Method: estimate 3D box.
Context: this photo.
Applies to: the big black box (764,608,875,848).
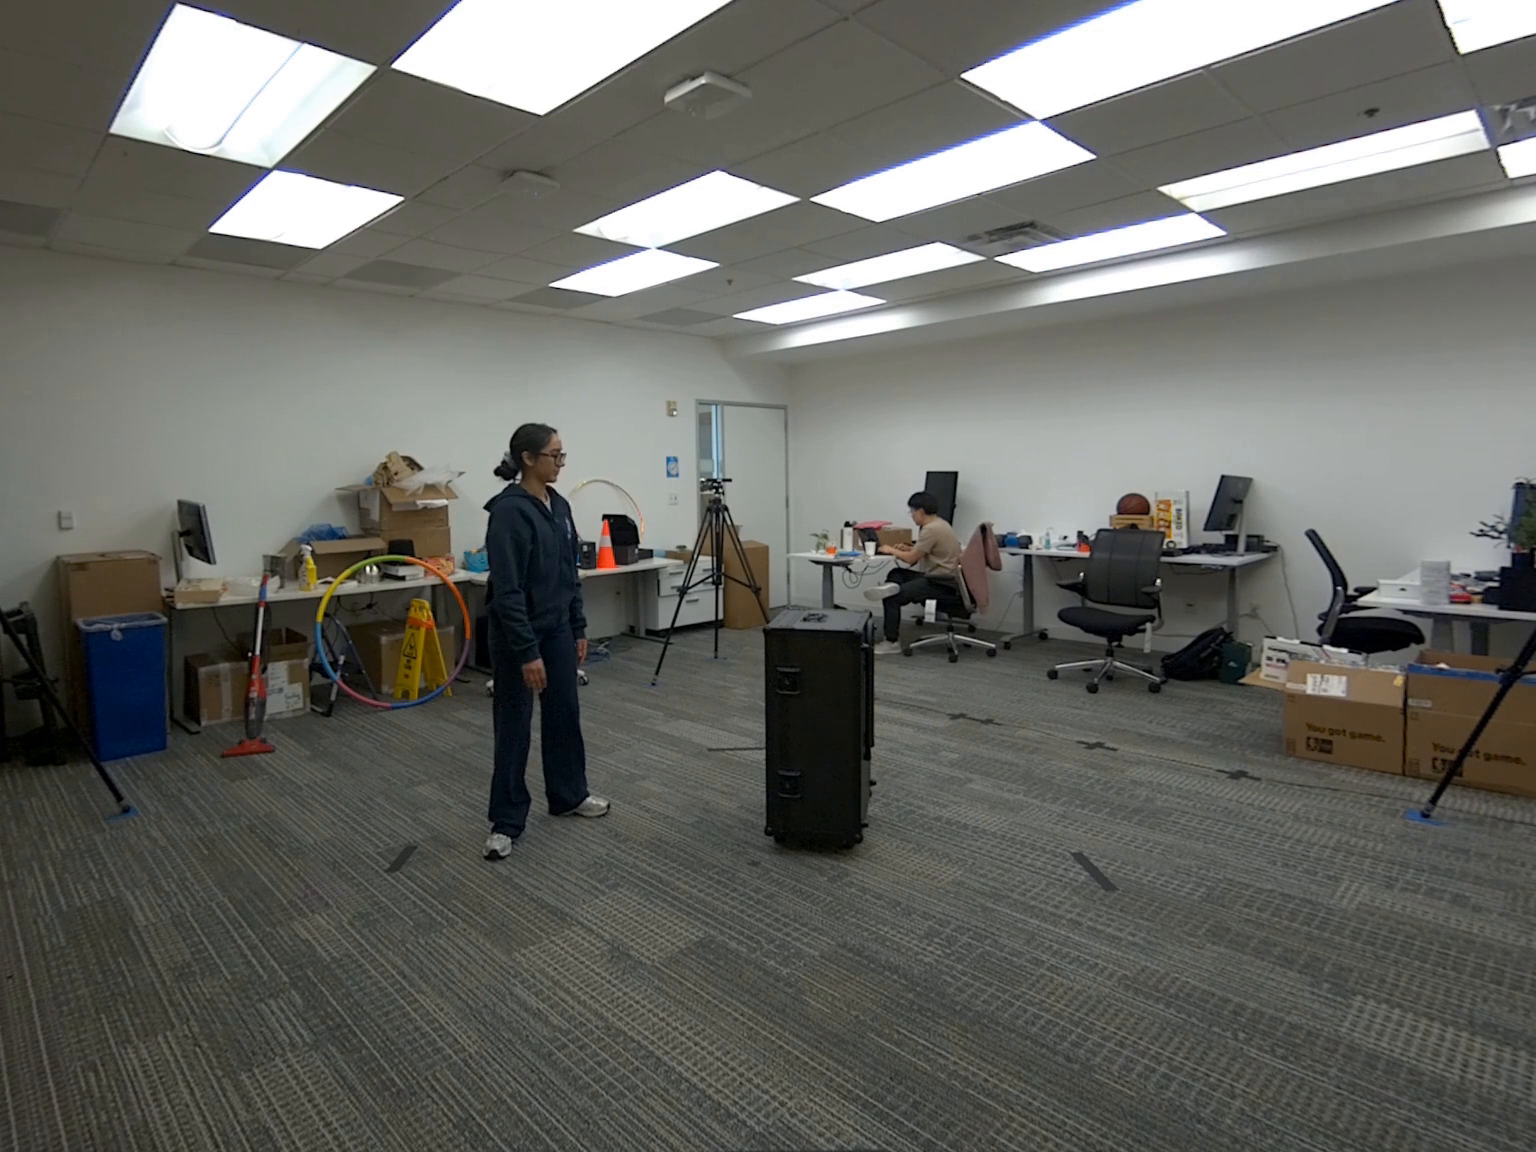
[{"bbox_3d":[0.218,0.586,3.343,0.402,0.858,0.516,0,5,14],"label":"big black box"}]
